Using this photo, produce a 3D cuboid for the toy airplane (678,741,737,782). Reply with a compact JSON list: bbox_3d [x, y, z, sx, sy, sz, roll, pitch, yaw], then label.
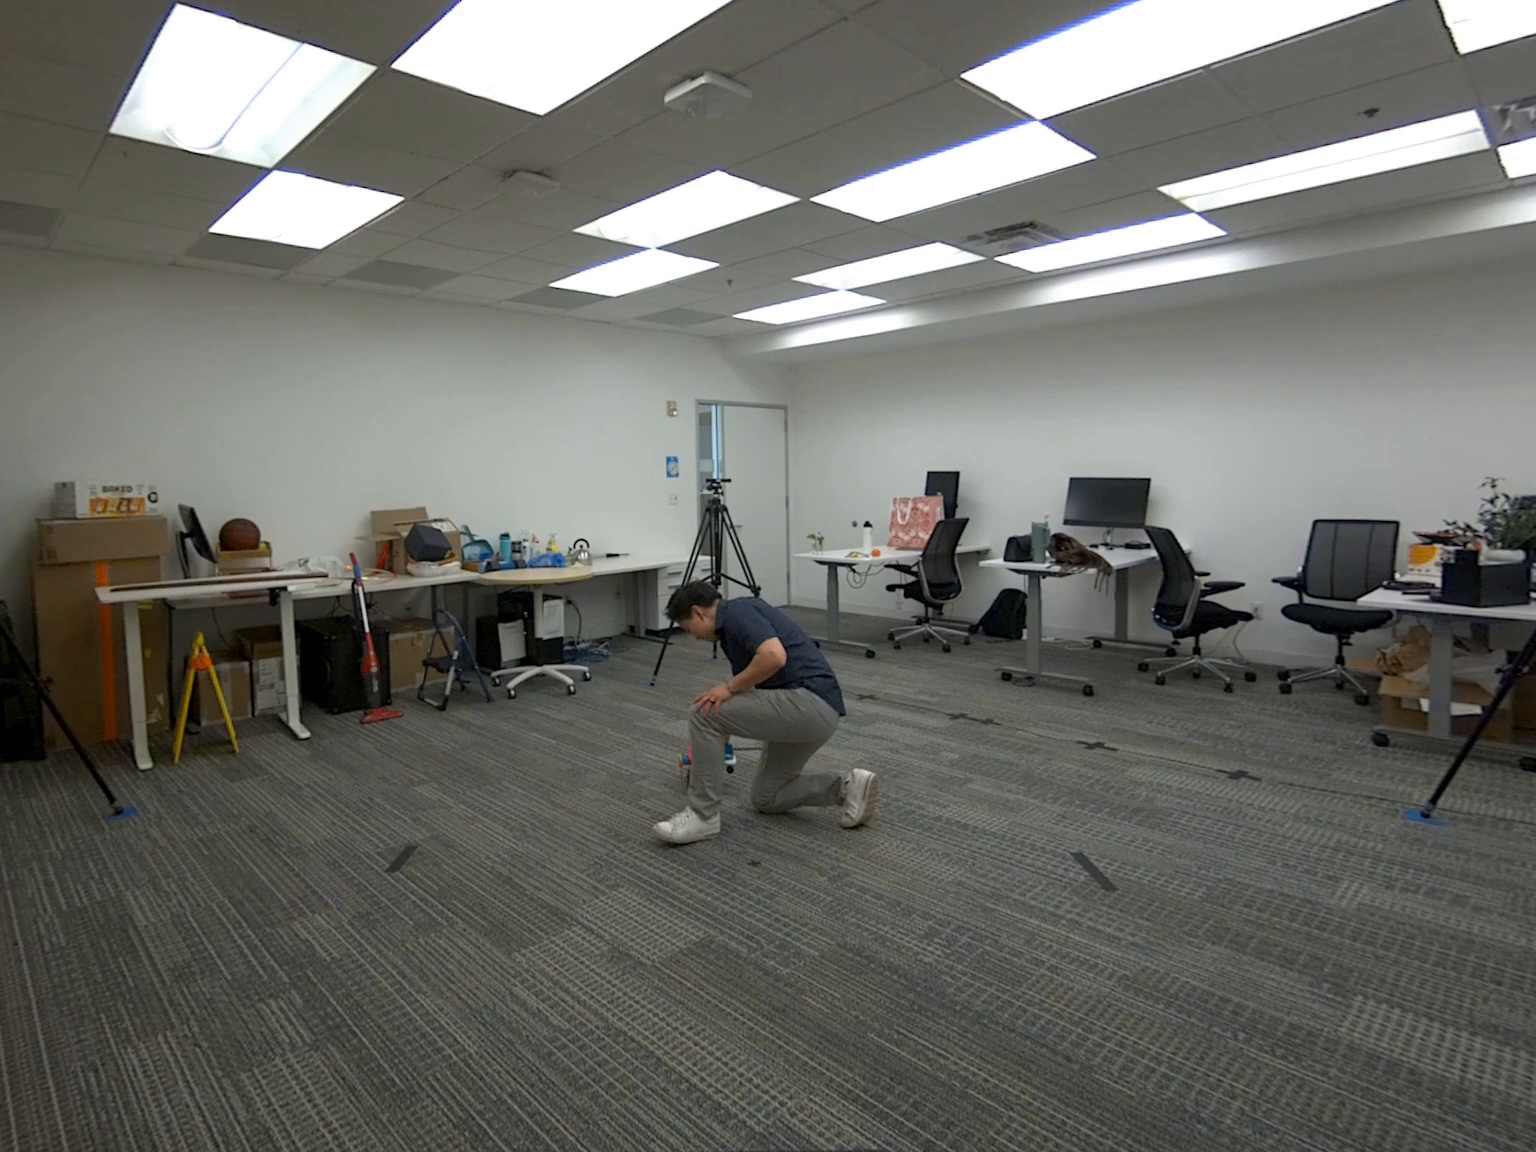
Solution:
[{"bbox_3d":[-0.278,0.864,3.954,0.255,0.155,0.256,-22,8,-31],"label":"toy airplane"}]
